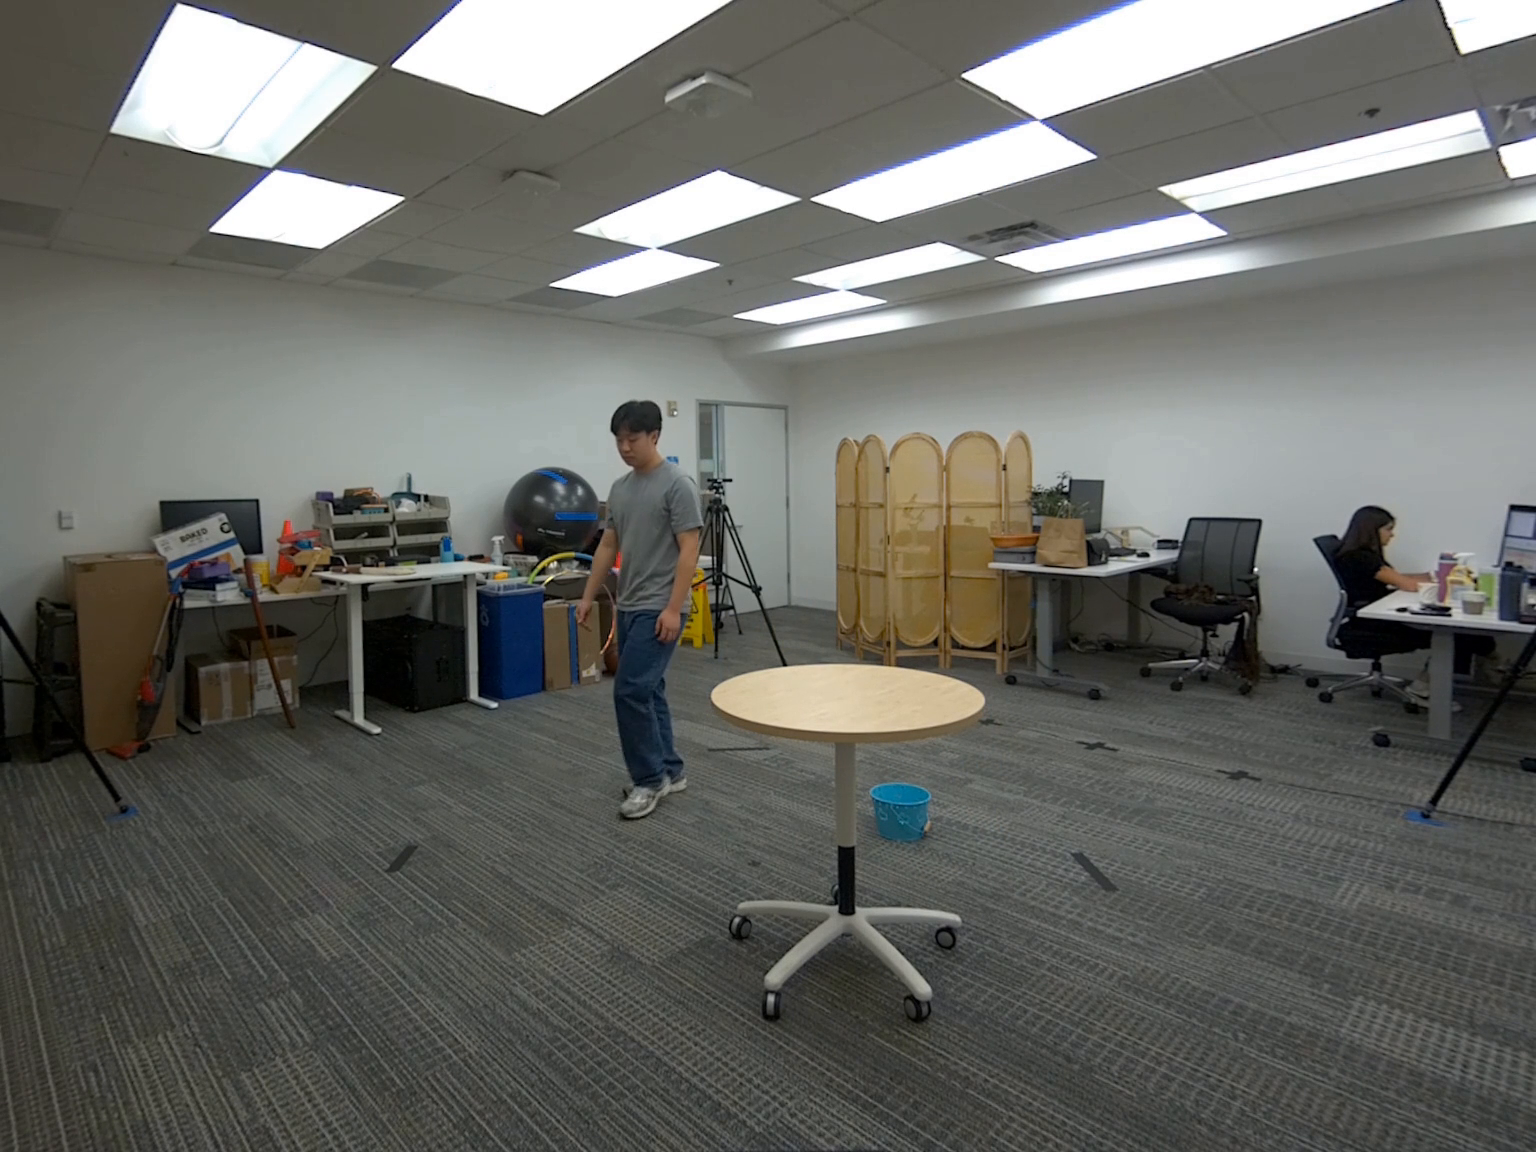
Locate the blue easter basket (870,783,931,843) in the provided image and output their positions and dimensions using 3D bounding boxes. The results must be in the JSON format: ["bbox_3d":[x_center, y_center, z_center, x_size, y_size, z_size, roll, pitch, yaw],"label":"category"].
[{"bbox_3d":[0.528,0.930,3.355,0.243,0.155,0.245,-2,5,-2],"label":"blue easter basket"}]
